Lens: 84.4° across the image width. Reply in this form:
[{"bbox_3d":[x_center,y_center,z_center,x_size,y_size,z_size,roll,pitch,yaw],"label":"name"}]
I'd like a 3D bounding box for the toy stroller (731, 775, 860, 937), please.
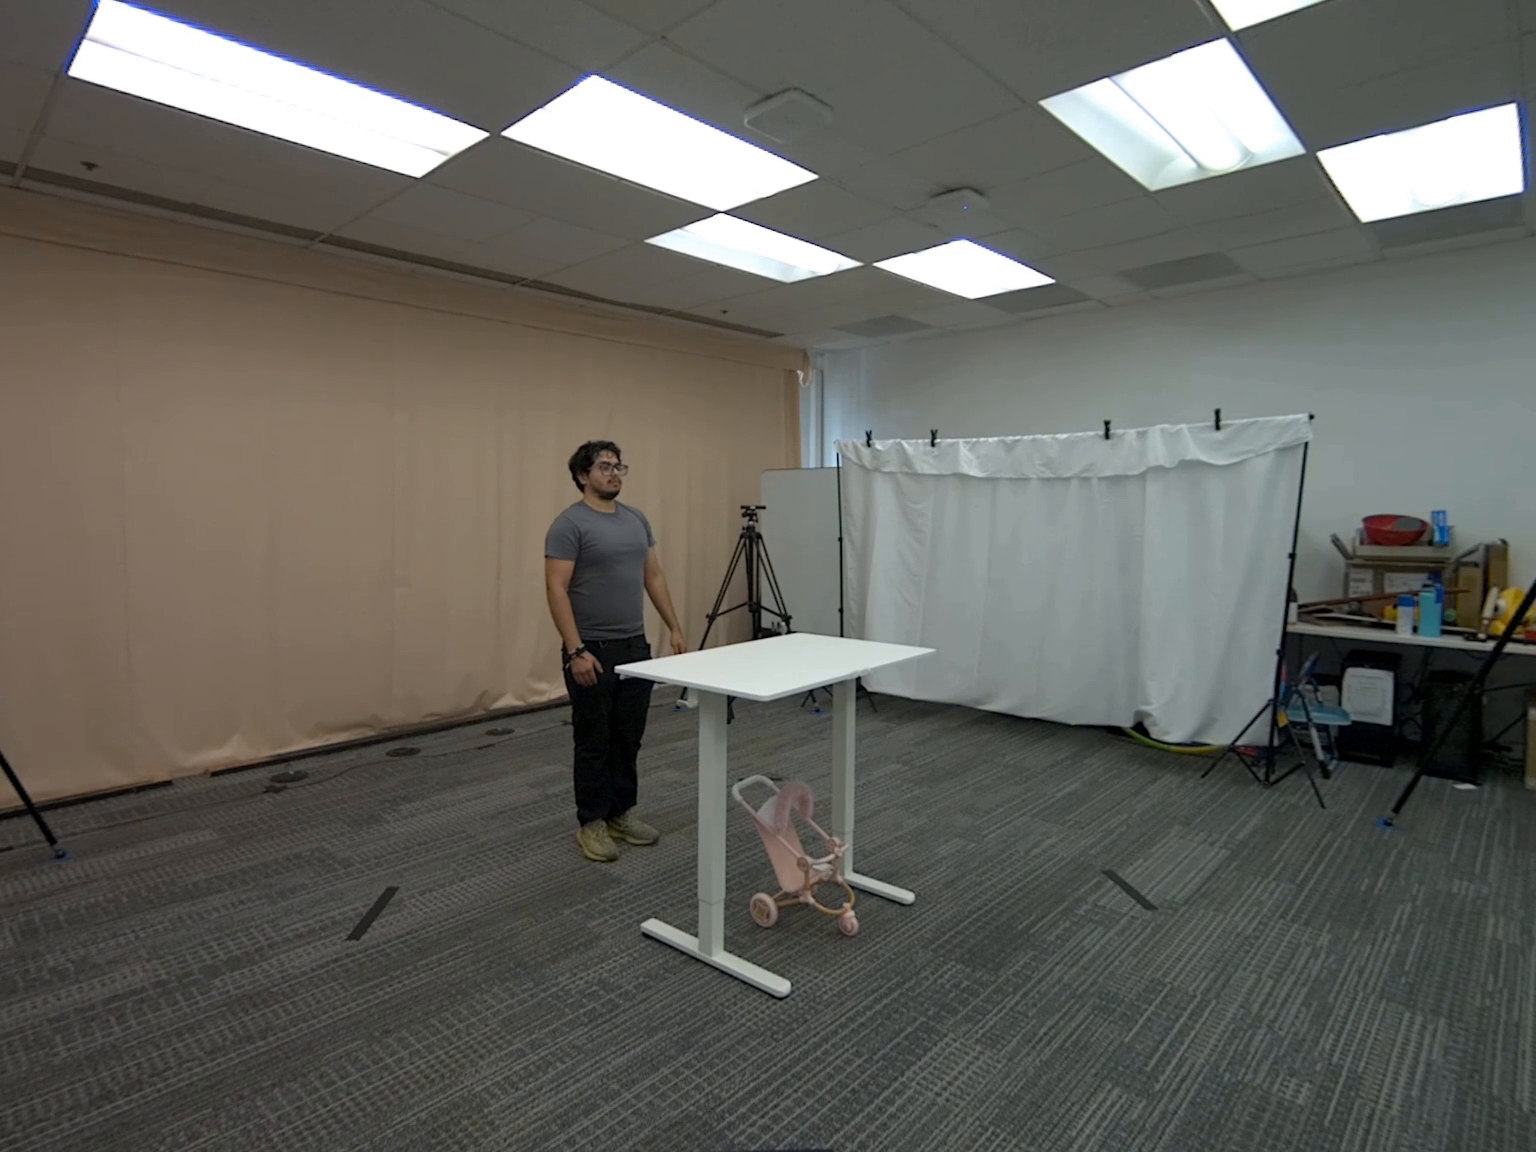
[{"bbox_3d":[0.111,0.936,2.833,0.349,0.539,0.273,-20,-10,40],"label":"toy stroller"}]
